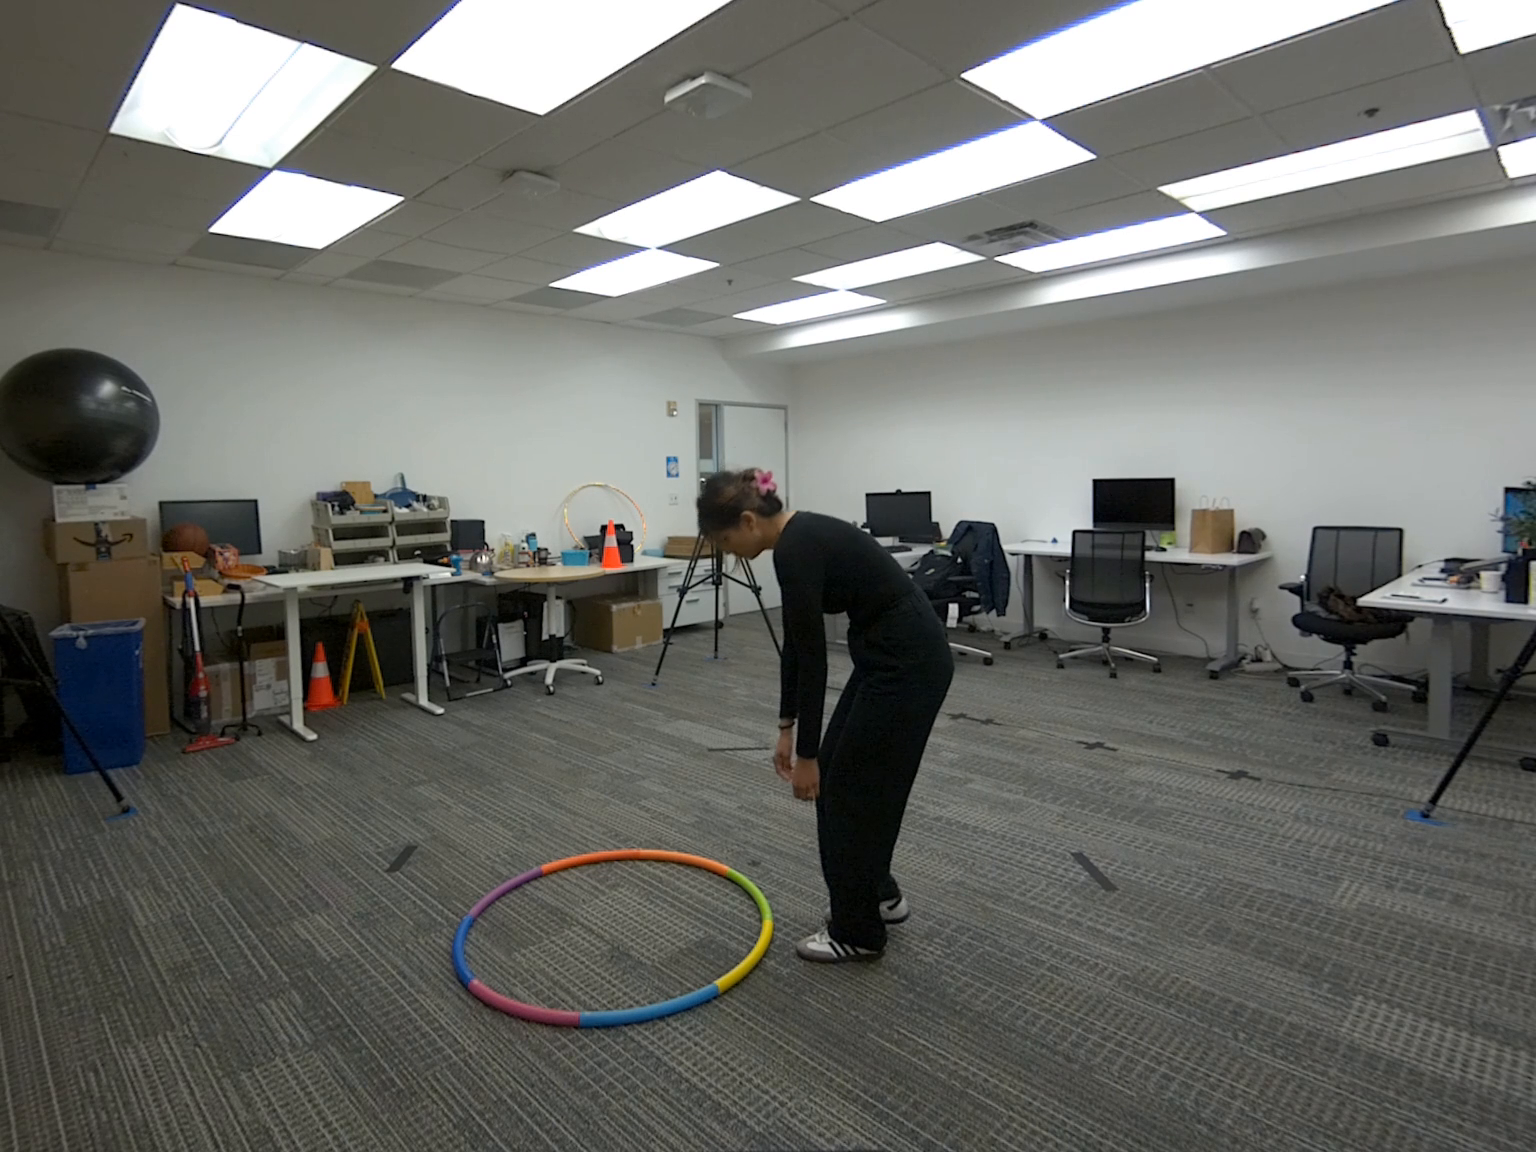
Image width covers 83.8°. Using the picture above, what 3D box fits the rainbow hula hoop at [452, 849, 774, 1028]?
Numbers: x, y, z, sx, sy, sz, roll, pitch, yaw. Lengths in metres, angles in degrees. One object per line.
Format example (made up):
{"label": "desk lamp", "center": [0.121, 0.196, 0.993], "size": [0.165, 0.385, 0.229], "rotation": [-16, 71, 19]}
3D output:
{"label": "rainbow hula hoop", "center": [-0.469, 1.071, 2.682], "size": [0.978, 0.035, 0.984], "rotation": [-2, 6, -2]}
